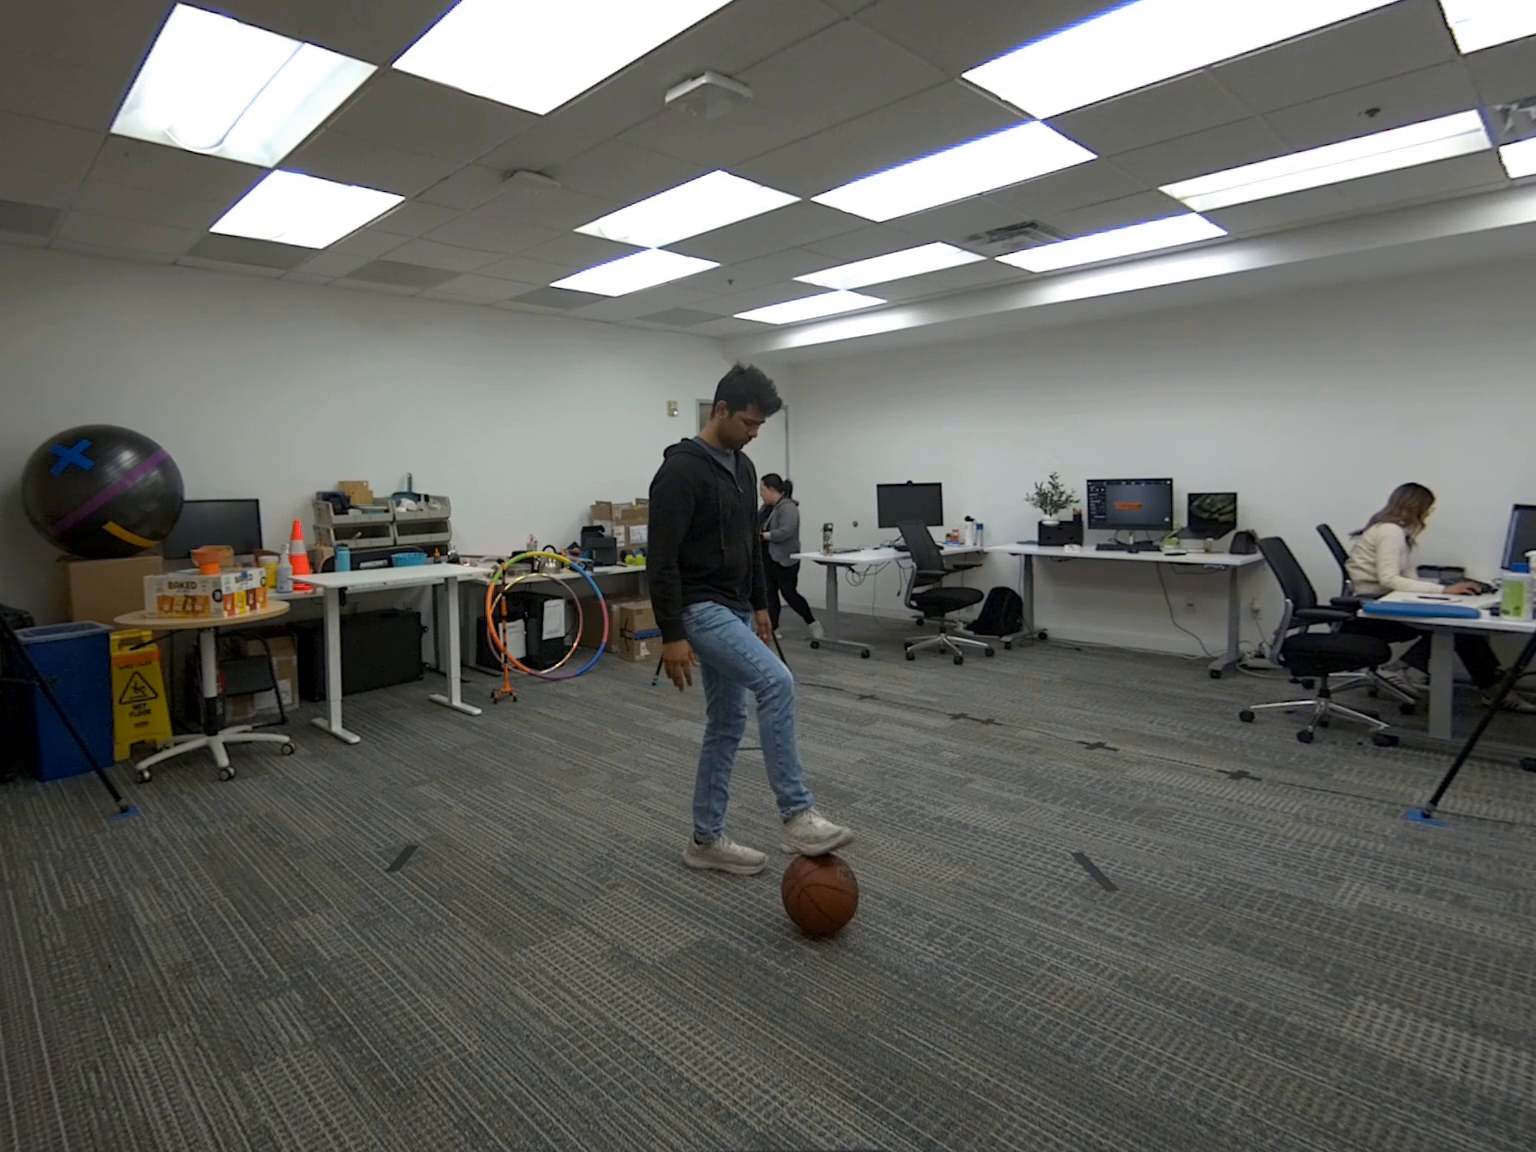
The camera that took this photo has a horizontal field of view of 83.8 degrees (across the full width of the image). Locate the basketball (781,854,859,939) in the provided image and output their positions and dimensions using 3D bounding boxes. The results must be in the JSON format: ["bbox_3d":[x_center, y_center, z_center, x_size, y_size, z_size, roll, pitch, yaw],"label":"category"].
[{"bbox_3d":[0.161,0.974,2.653,0.236,0.235,0.237,-1,5,-2],"label":"basketball"}]
